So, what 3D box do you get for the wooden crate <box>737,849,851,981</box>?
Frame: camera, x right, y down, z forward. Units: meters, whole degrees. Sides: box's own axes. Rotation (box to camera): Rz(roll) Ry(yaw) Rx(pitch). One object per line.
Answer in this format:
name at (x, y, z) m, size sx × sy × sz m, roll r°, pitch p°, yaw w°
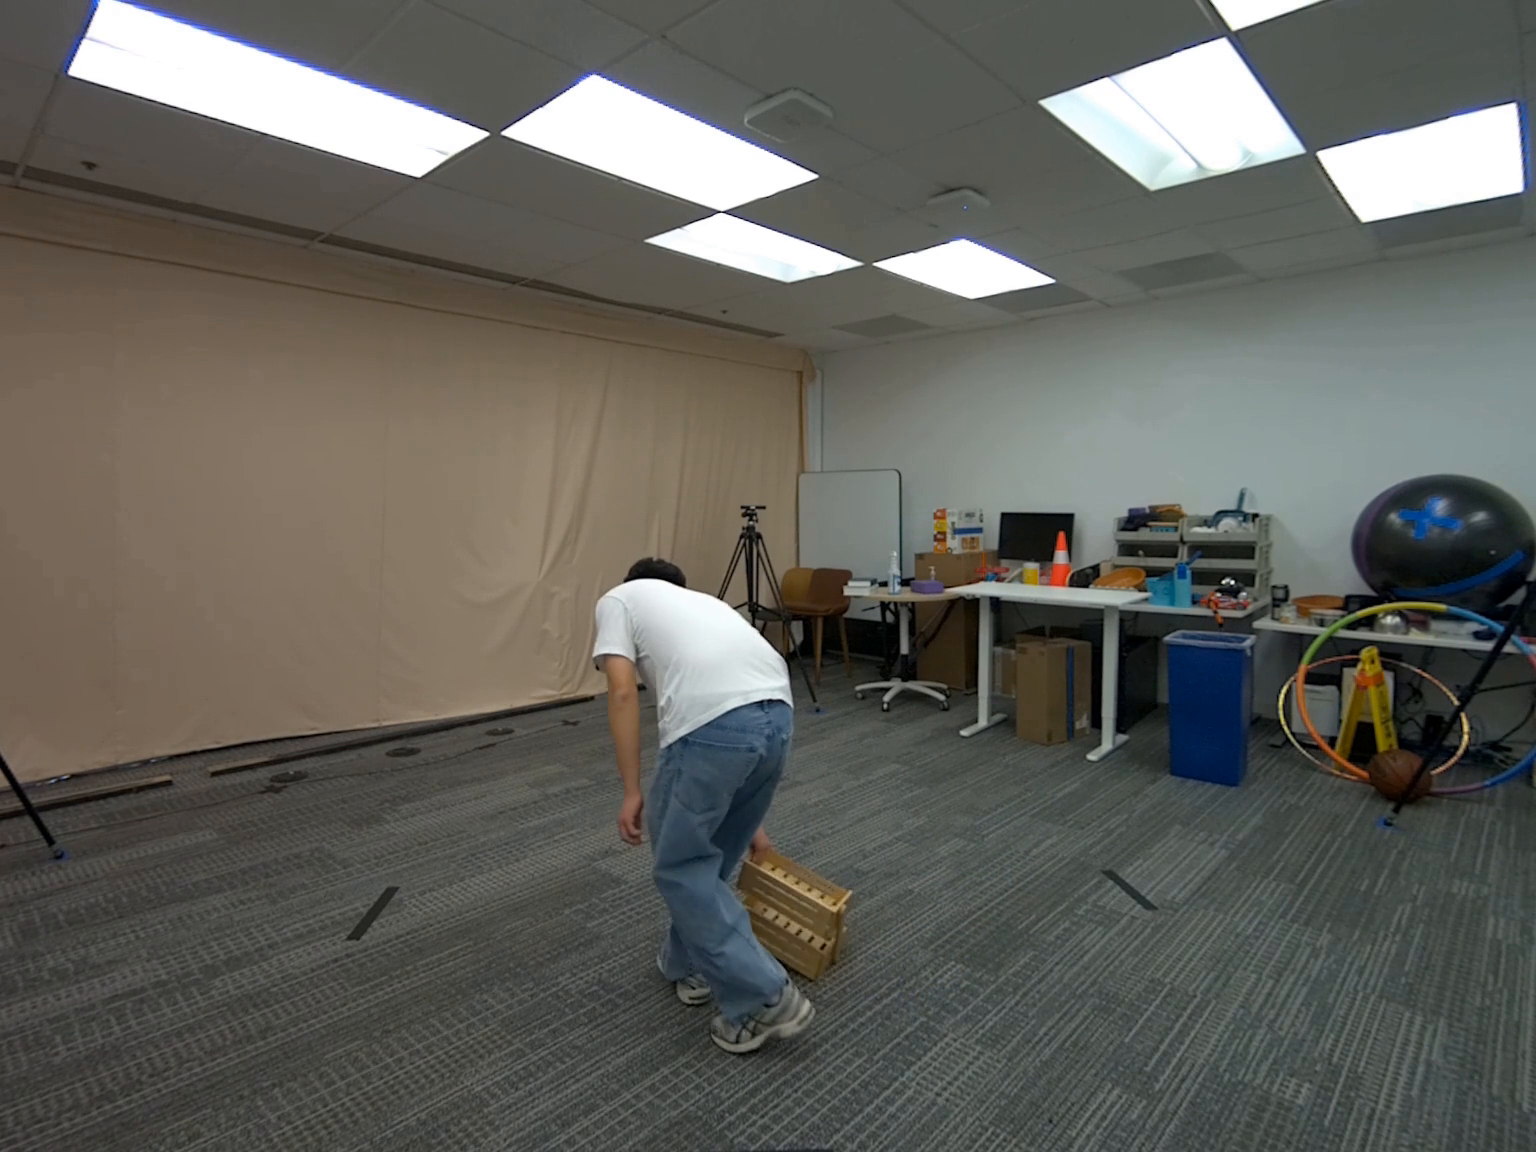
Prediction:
wooden crate at (0.092, 1.007, 2.588) m, size 0.334 × 0.272 × 0.294 m, roll 21°, pitch 12°, yaw 25°
